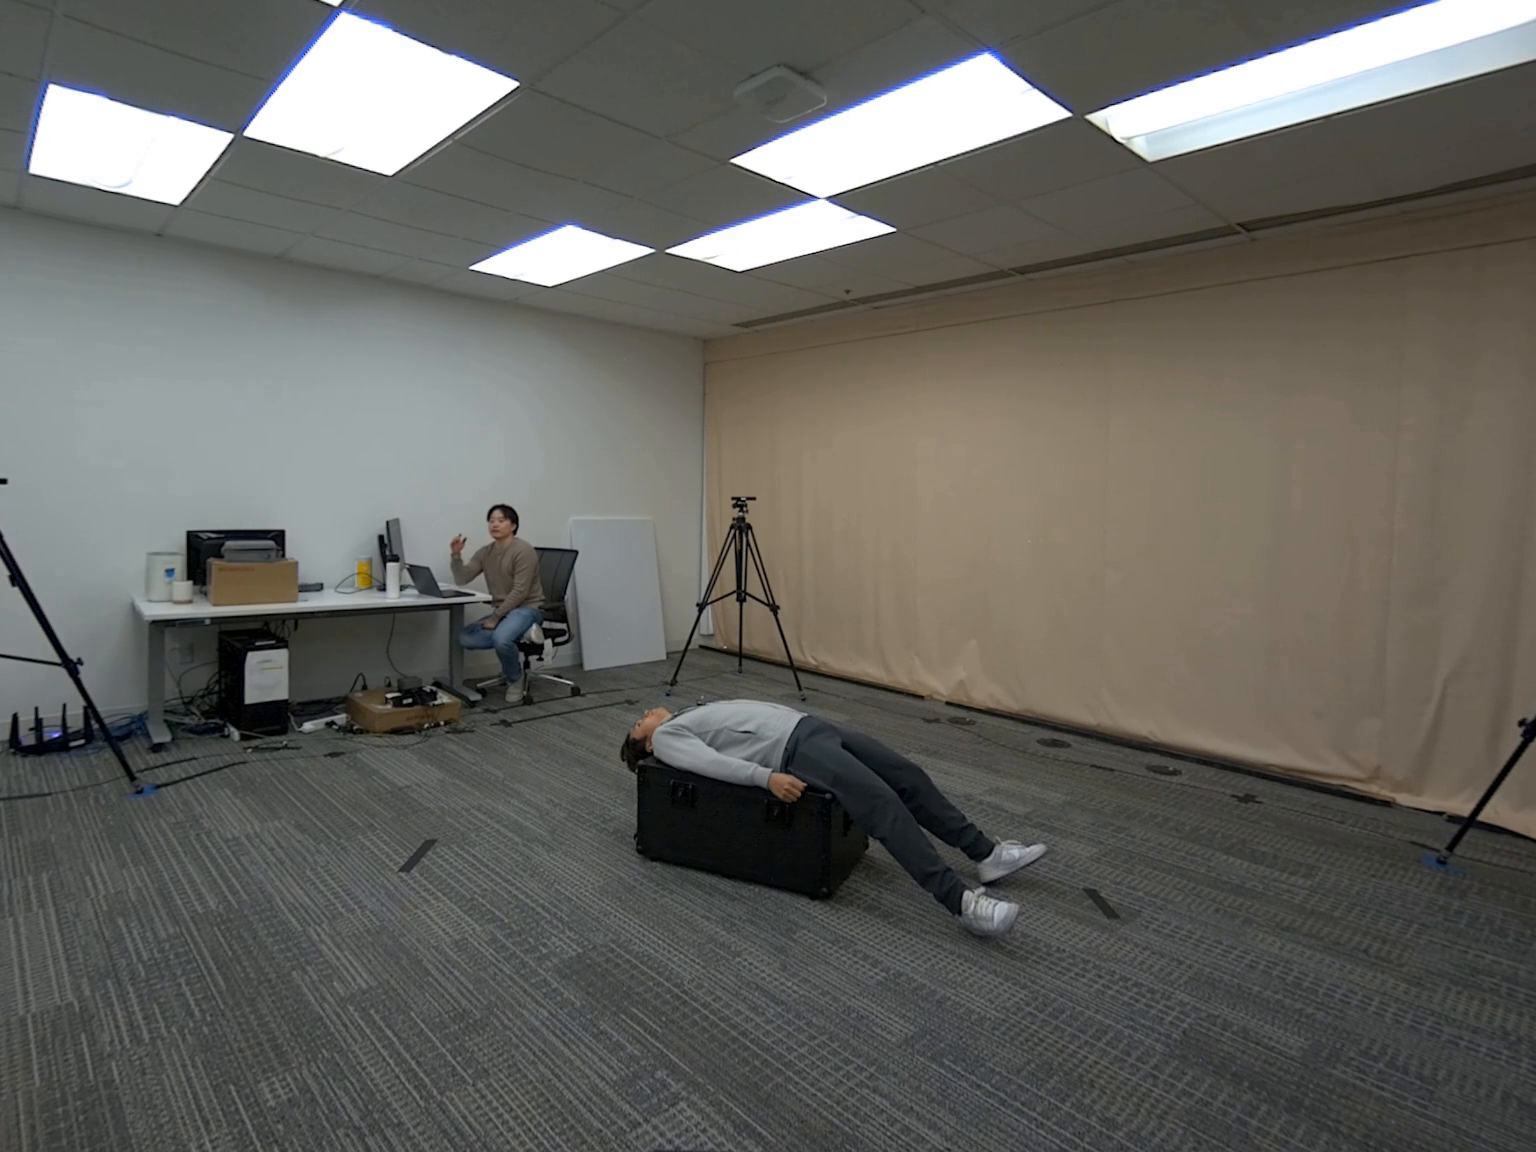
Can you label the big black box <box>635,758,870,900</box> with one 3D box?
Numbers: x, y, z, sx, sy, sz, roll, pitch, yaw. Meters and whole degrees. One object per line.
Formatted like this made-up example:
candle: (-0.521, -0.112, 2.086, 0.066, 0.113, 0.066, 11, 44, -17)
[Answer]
big black box: (-0.032, 0.911, 3.249, 0.878, 0.395, 0.513, 3, 5, 26)
